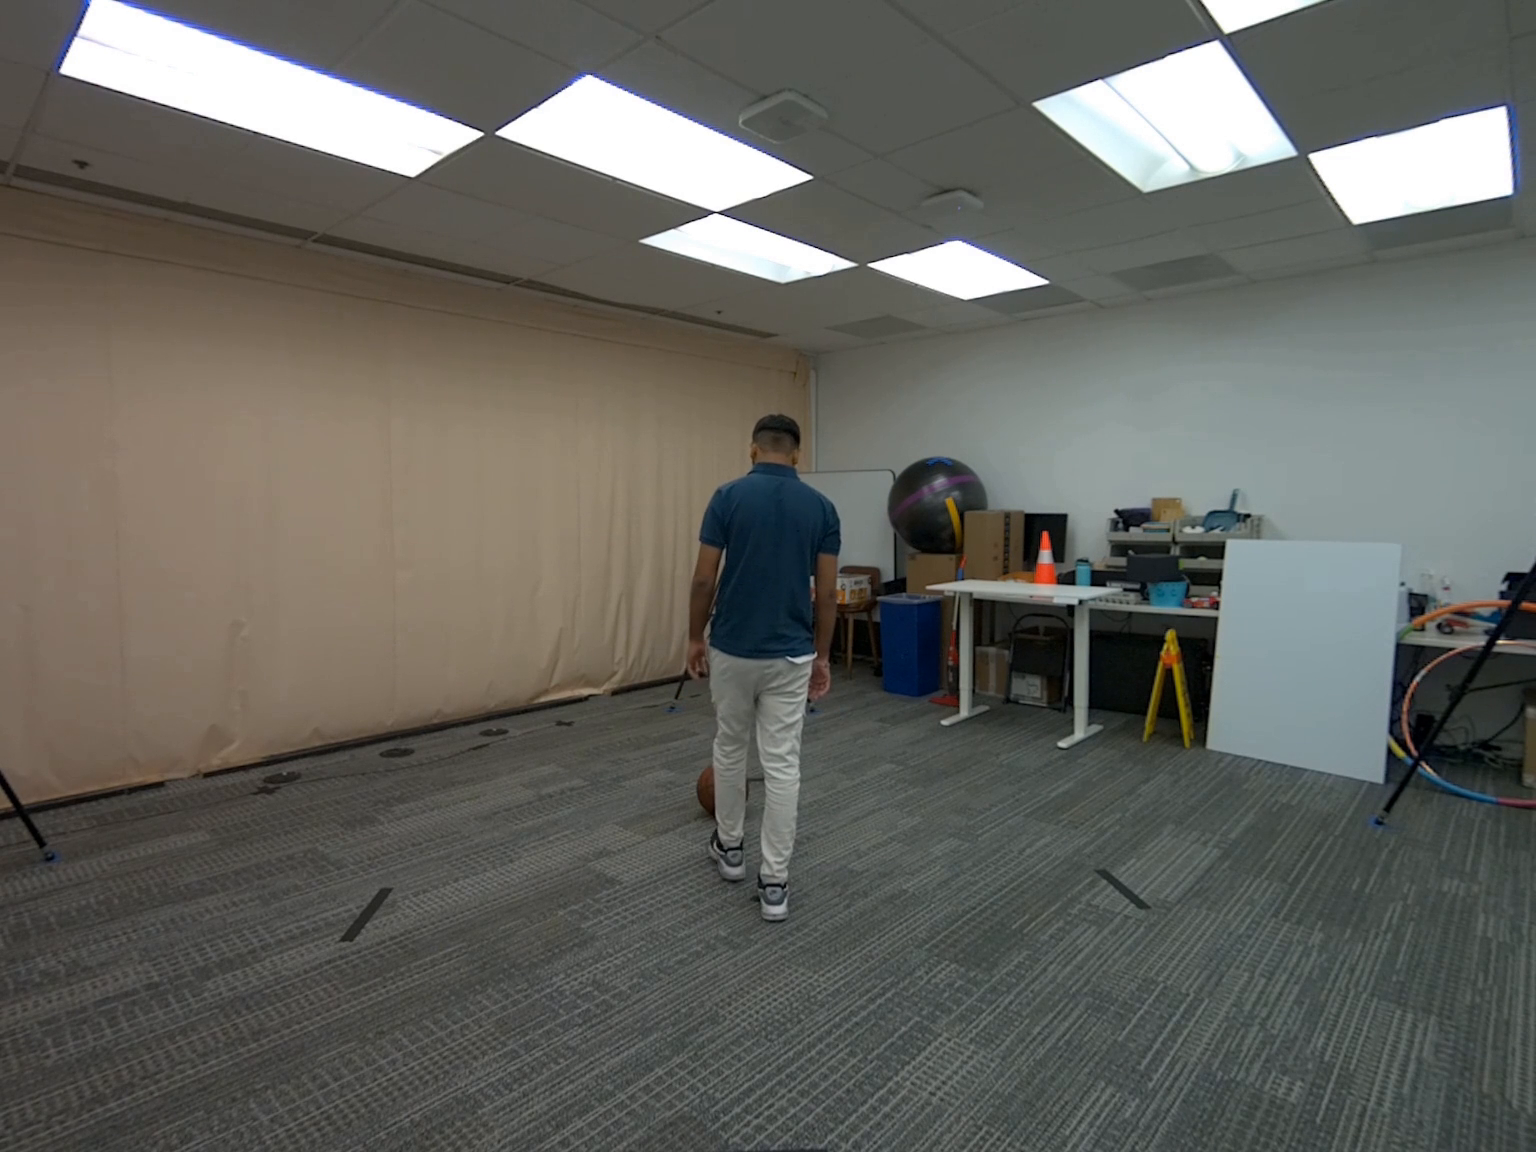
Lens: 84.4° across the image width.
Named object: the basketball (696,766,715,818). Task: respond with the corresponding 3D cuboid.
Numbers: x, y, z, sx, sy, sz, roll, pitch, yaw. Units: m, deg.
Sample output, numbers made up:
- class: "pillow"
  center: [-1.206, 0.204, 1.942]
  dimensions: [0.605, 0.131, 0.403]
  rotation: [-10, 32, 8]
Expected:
- class: "basketball"
  center: [-0.206, 0.958, 3.793]
  dimensions: [0.236, 0.235, 0.237]
  rotation: [0, 4, -2]
